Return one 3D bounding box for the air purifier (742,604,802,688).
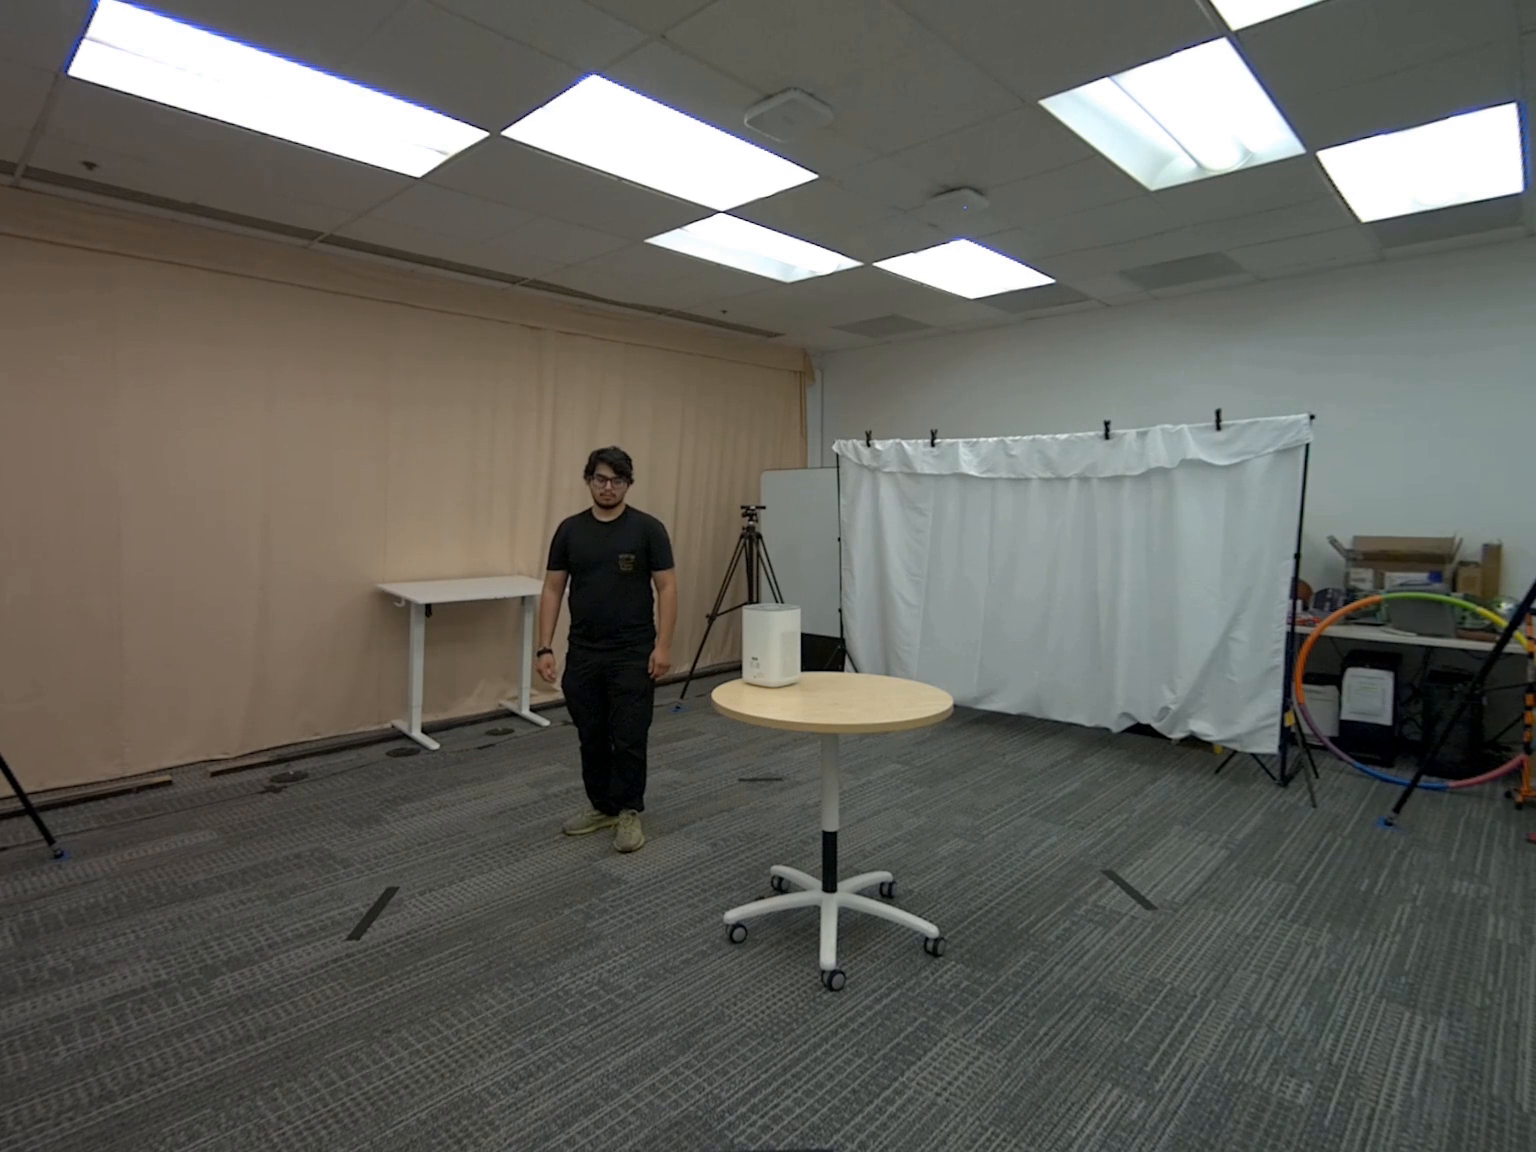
[{"bbox_3d":[0.016,0.235,2.879,0.177,0.265,0.166,2,3,43],"label":"air purifier"}]
